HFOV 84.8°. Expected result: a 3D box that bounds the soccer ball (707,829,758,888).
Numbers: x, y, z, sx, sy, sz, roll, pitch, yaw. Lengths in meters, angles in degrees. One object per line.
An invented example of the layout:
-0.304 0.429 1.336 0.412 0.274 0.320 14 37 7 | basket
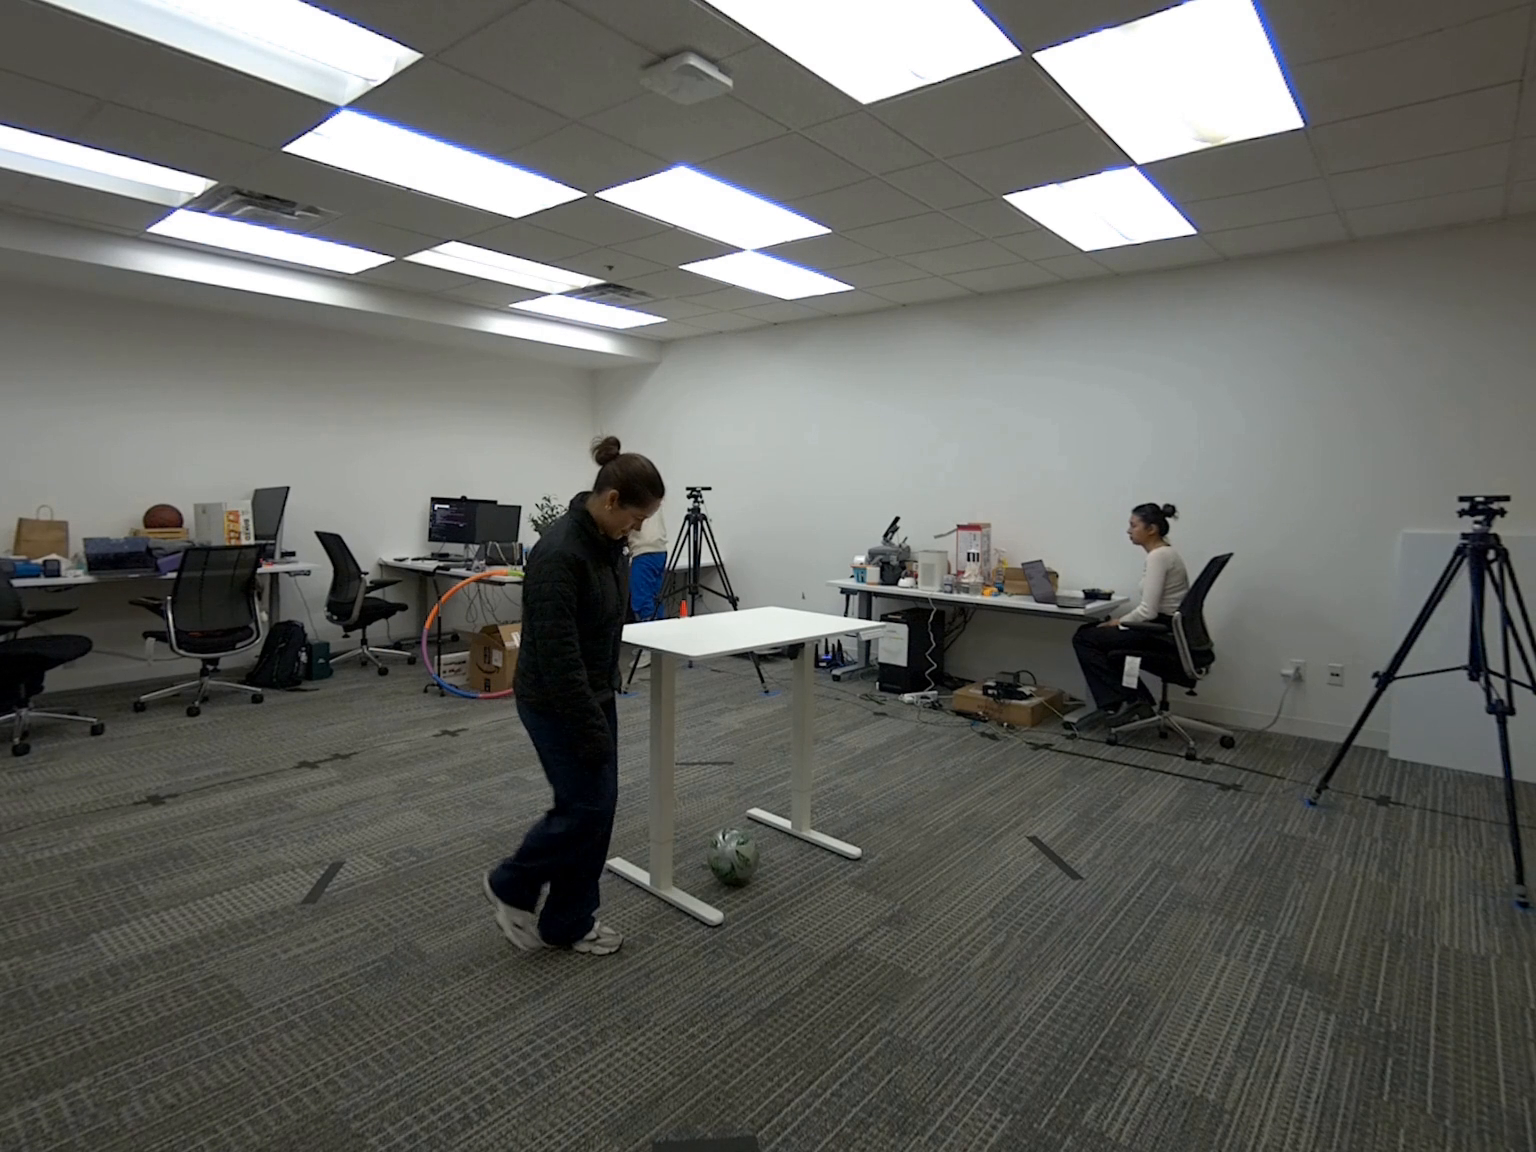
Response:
-0.132 0.986 3.001 0.187 0.187 0.188 1 4 -2 | soccer ball
